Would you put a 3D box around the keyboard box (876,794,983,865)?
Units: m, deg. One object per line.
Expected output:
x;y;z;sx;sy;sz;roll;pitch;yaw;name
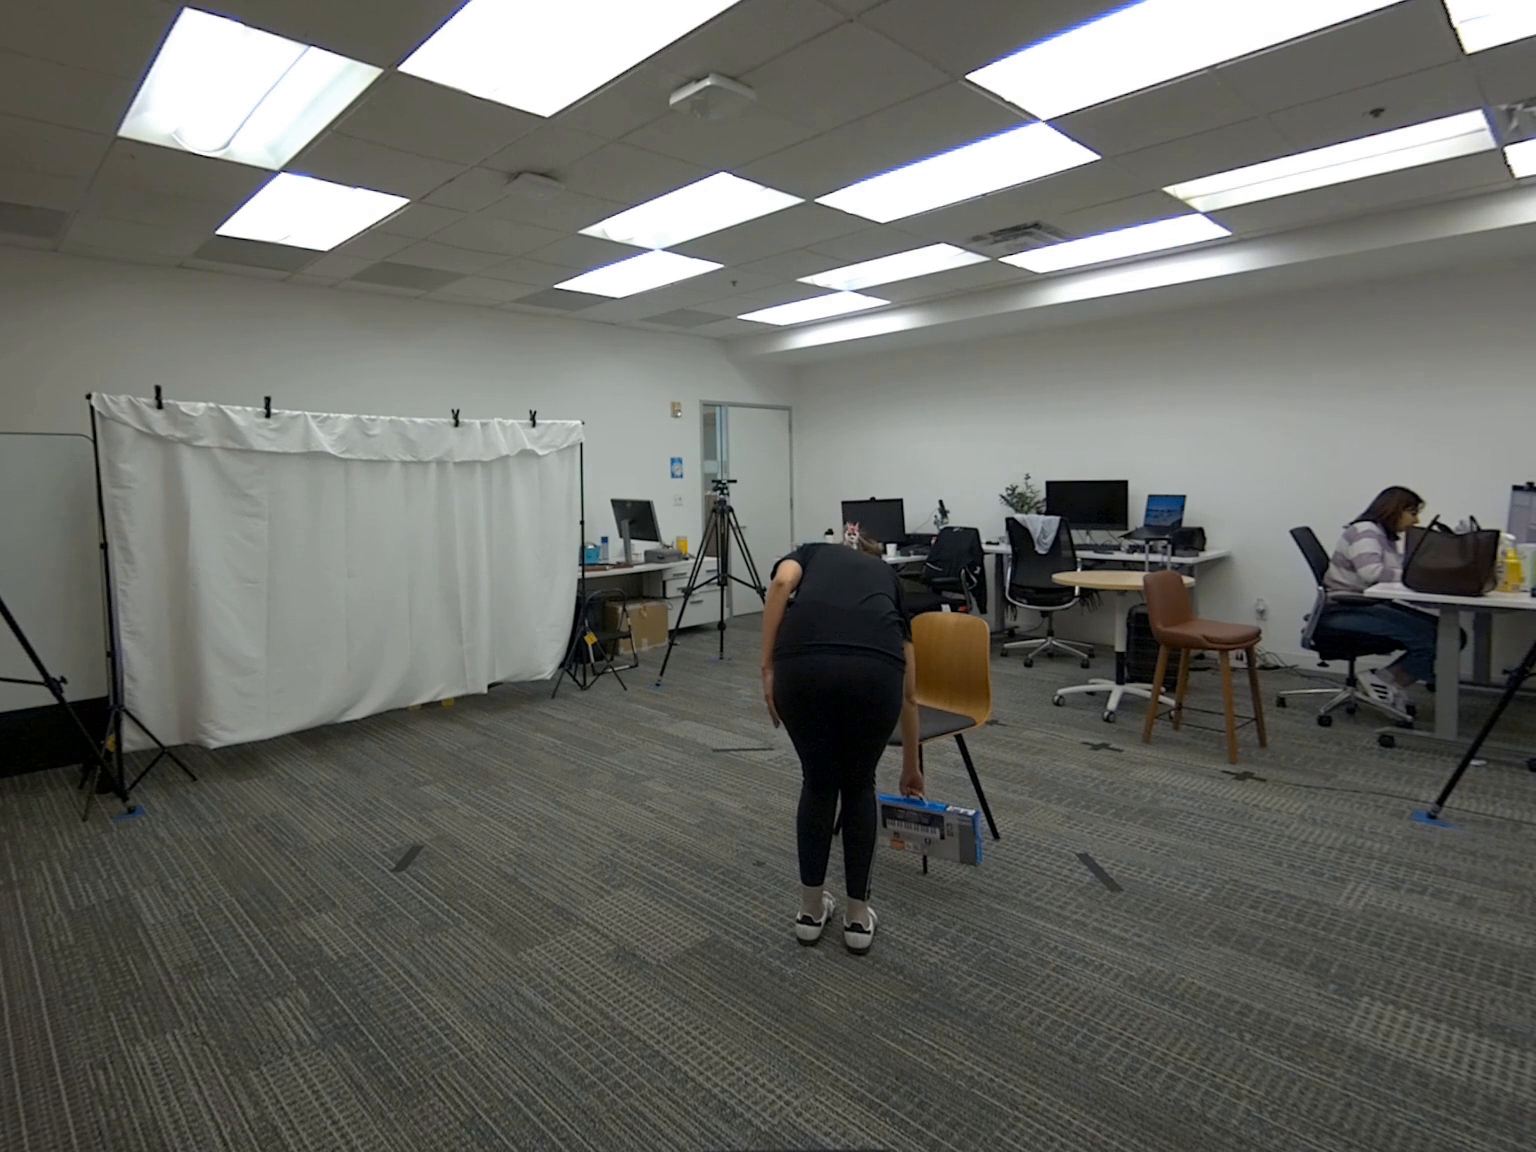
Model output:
0.517;0.866;2.948;0.449;0.175;0.058;1;6;35;keyboard box
